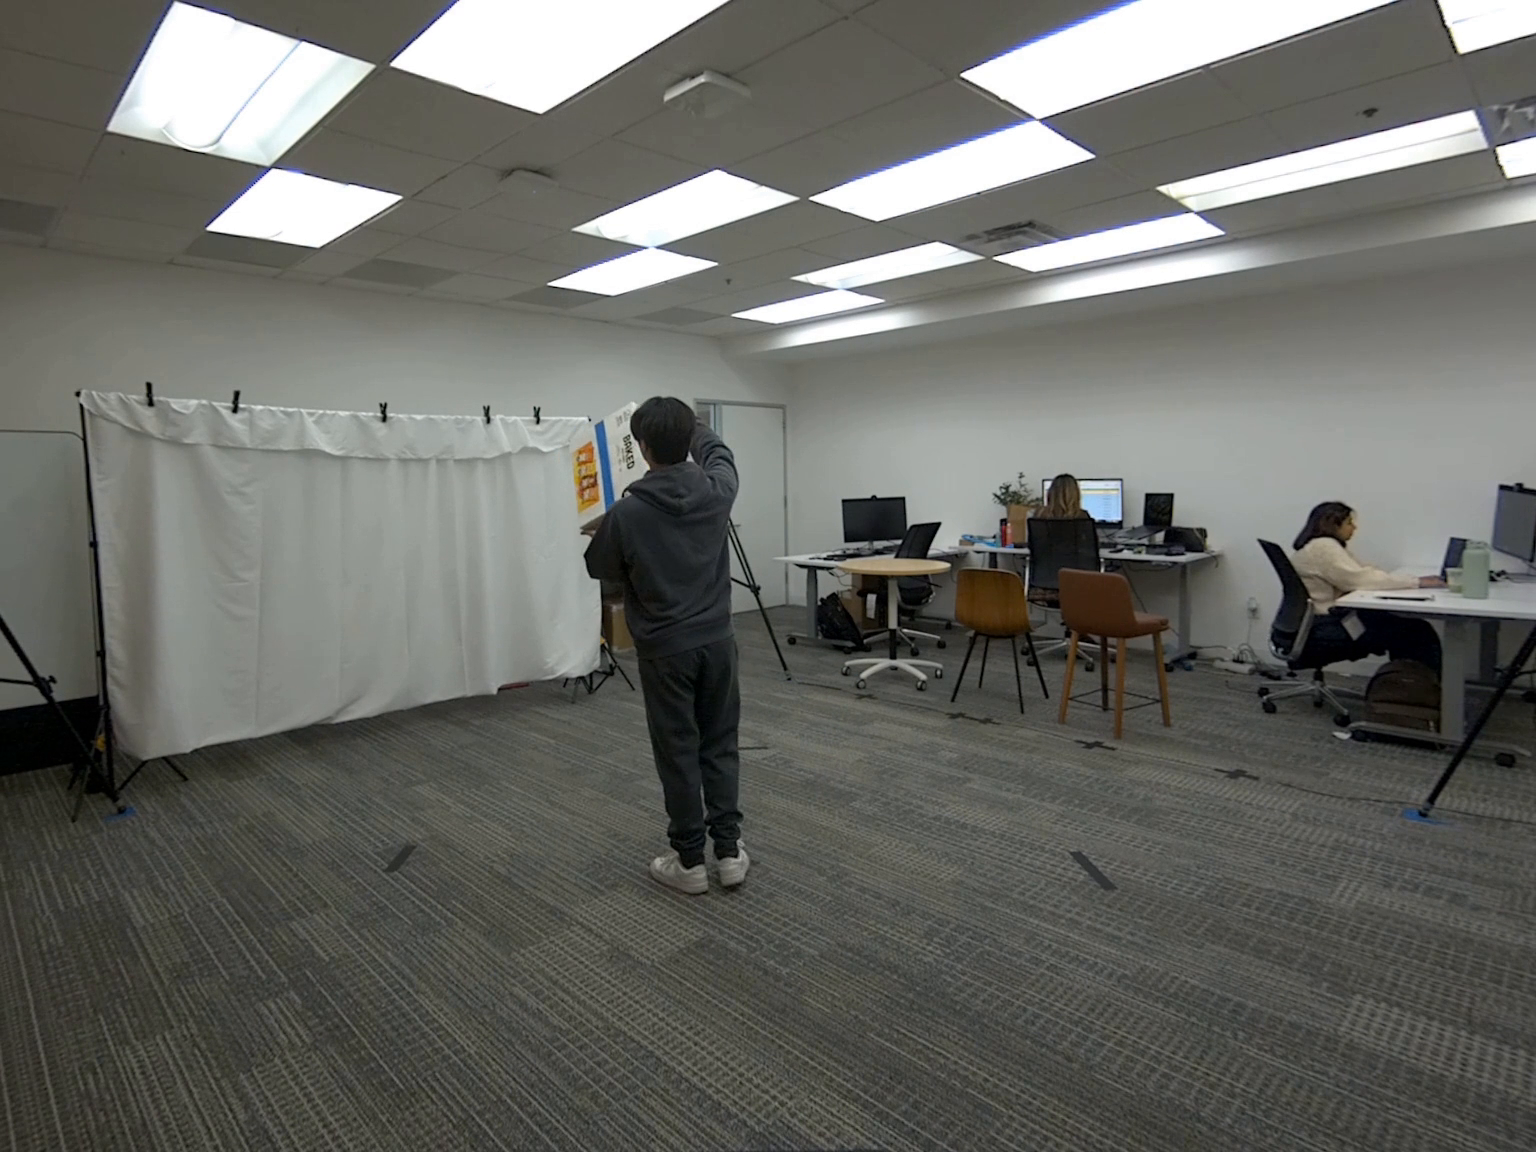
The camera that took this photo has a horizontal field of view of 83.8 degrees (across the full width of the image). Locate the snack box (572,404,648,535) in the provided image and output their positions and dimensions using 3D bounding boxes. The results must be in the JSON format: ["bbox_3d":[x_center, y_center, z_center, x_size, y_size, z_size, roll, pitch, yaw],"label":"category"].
[{"bbox_3d":[-0.554,-0.398,3.307,0.344,0.416,0.198,-26,-29,27],"label":"snack box"}]
